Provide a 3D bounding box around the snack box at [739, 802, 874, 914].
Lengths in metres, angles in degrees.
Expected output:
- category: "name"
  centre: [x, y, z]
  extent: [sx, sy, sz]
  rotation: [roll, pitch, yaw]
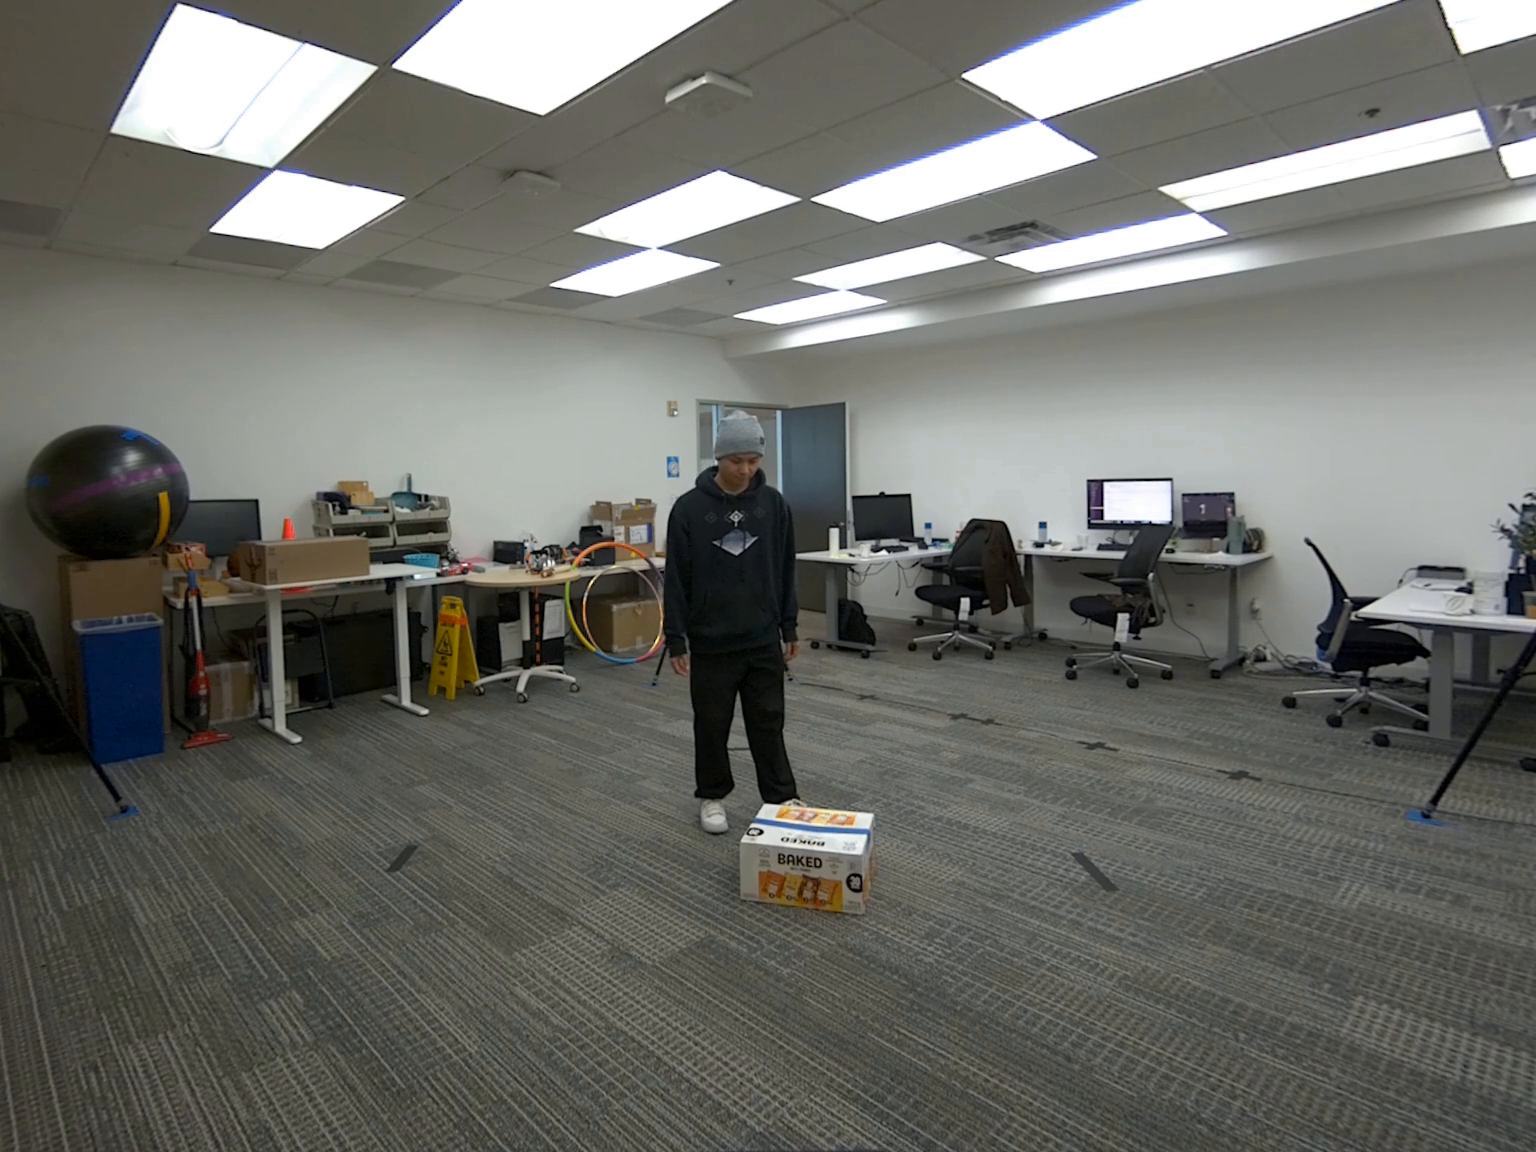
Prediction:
- category: "snack box"
  centre: [0.147, 0.960, 2.930]
  extent: [0.411, 0.205, 0.337]
  rotation: [1, 6, 15]
